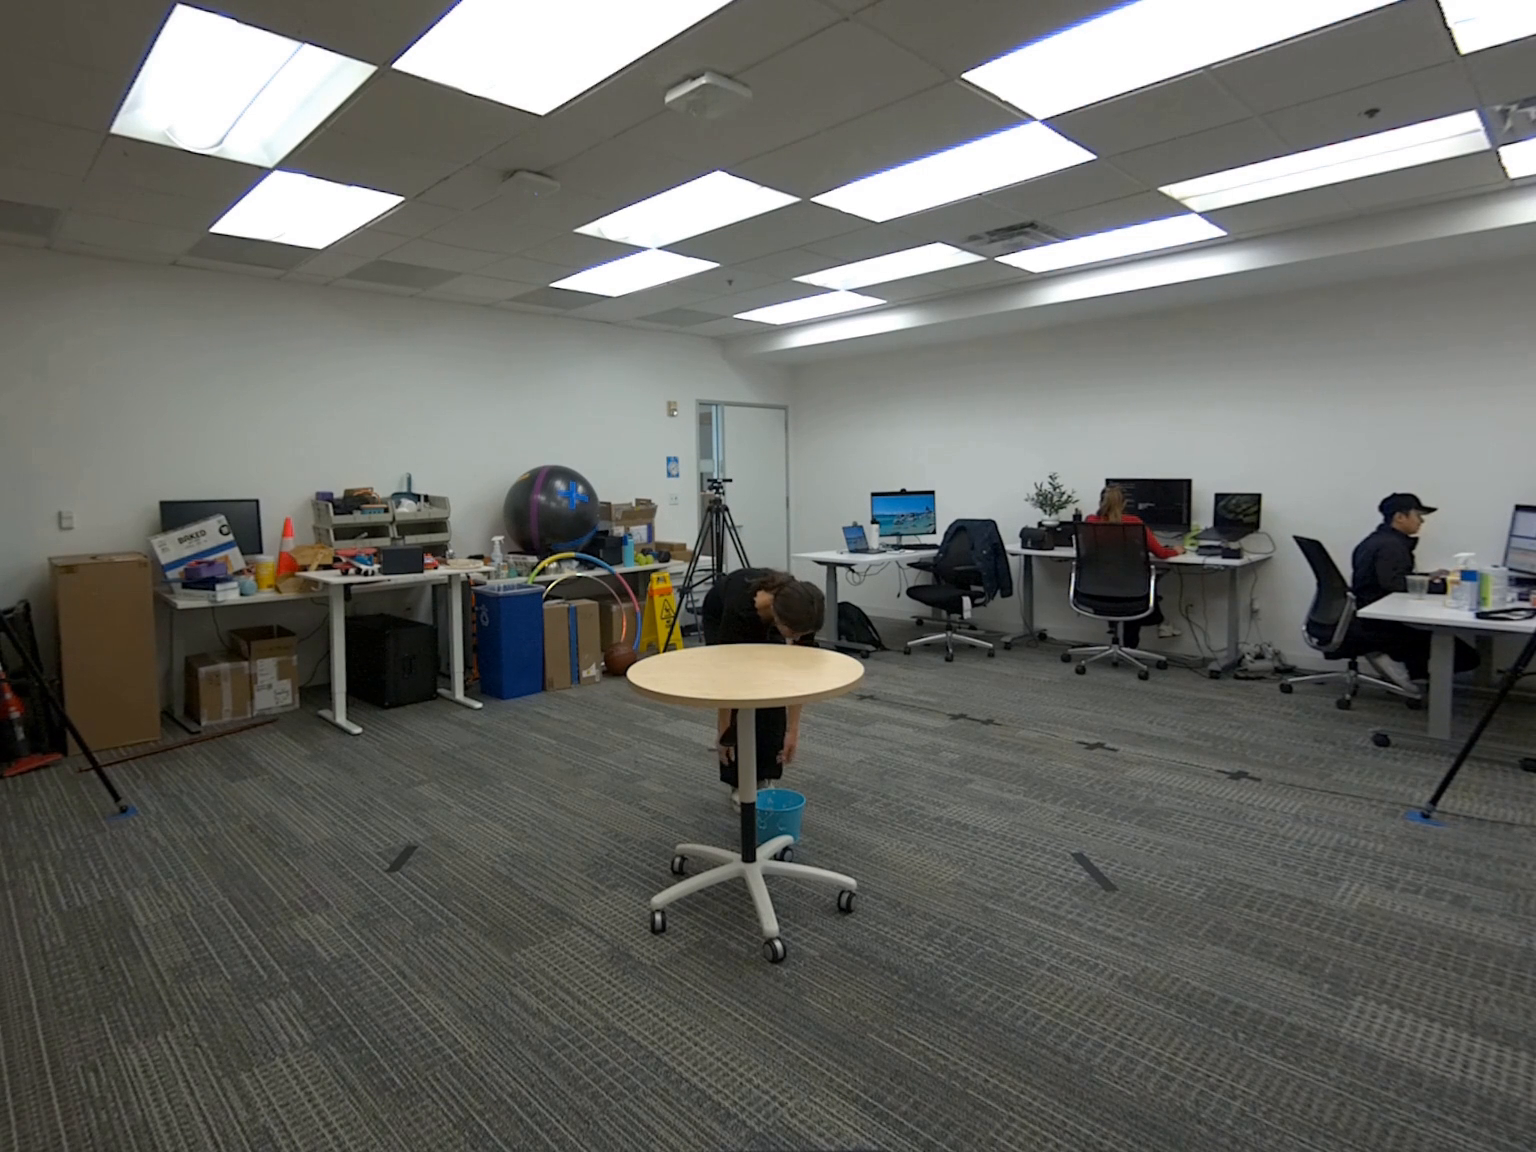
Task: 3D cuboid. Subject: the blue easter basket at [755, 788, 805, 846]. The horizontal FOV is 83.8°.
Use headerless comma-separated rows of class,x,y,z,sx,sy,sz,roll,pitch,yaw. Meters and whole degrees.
blue easter basket,0.032,0.946,3.336,0.243,0.155,0.245,-2,6,-2
